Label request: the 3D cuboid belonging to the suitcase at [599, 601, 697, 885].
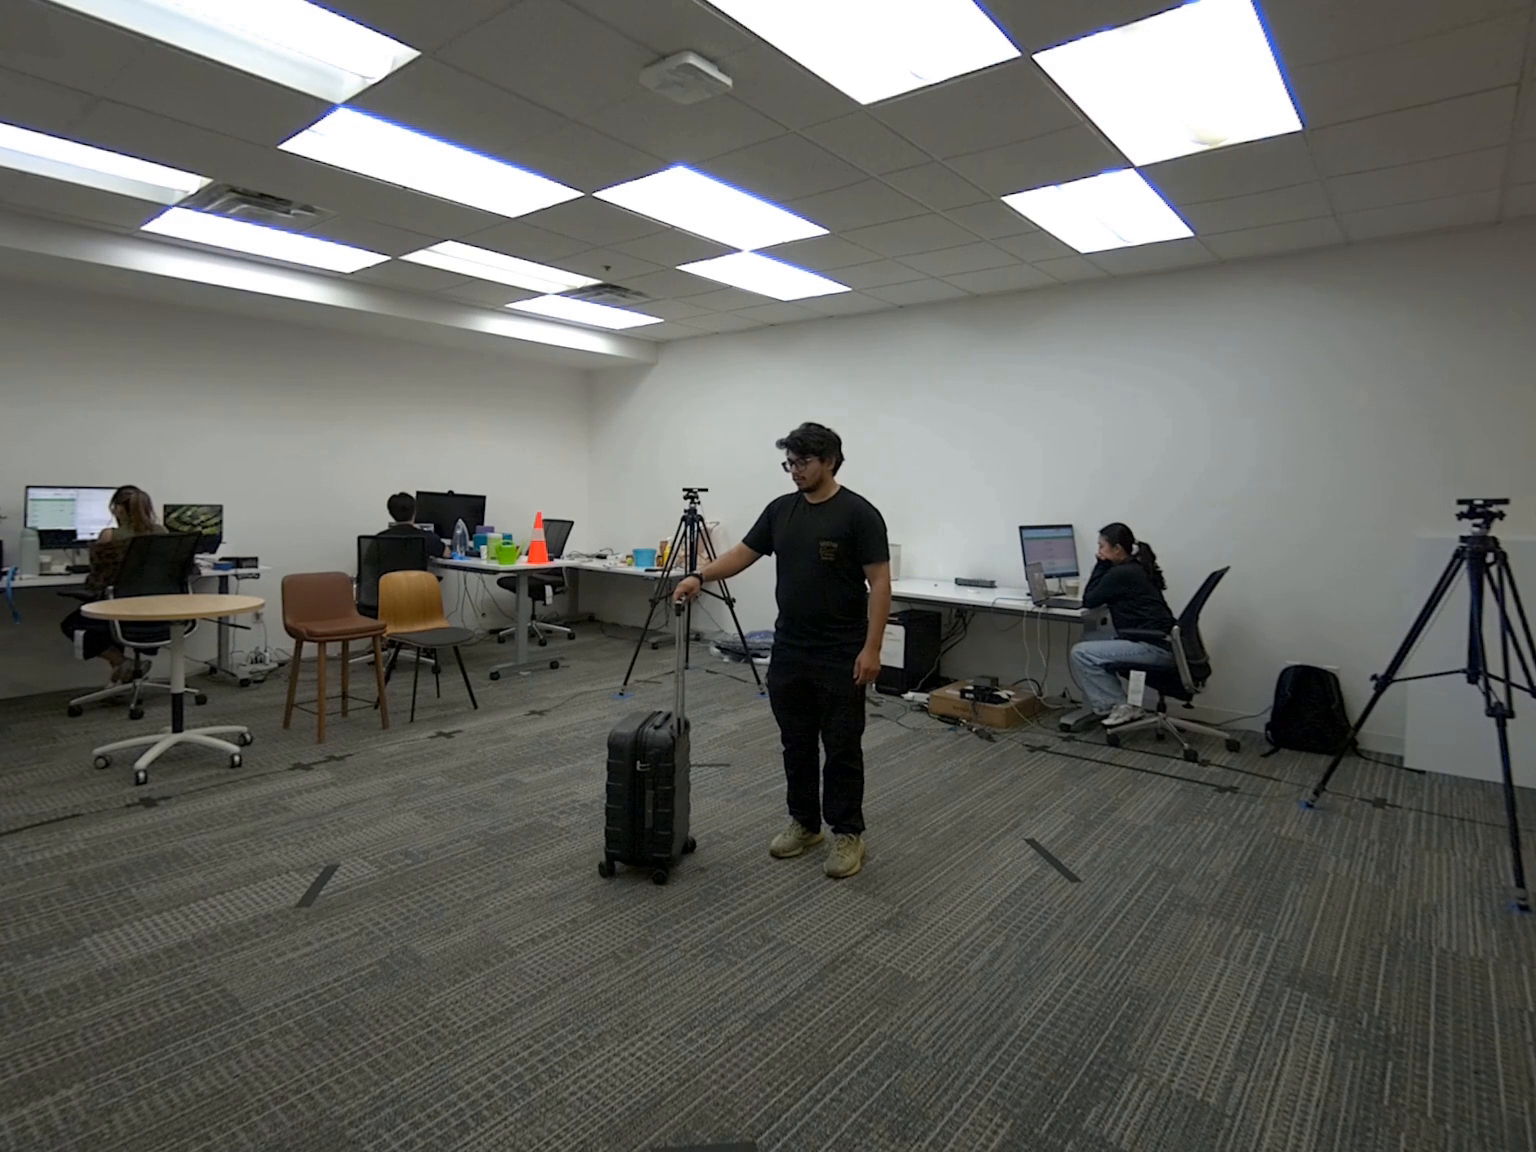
[{"bbox_3d":[-0.452,0.590,3.133,0.259,0.976,0.381,-1,2,7],"label":"suitcase"}]
